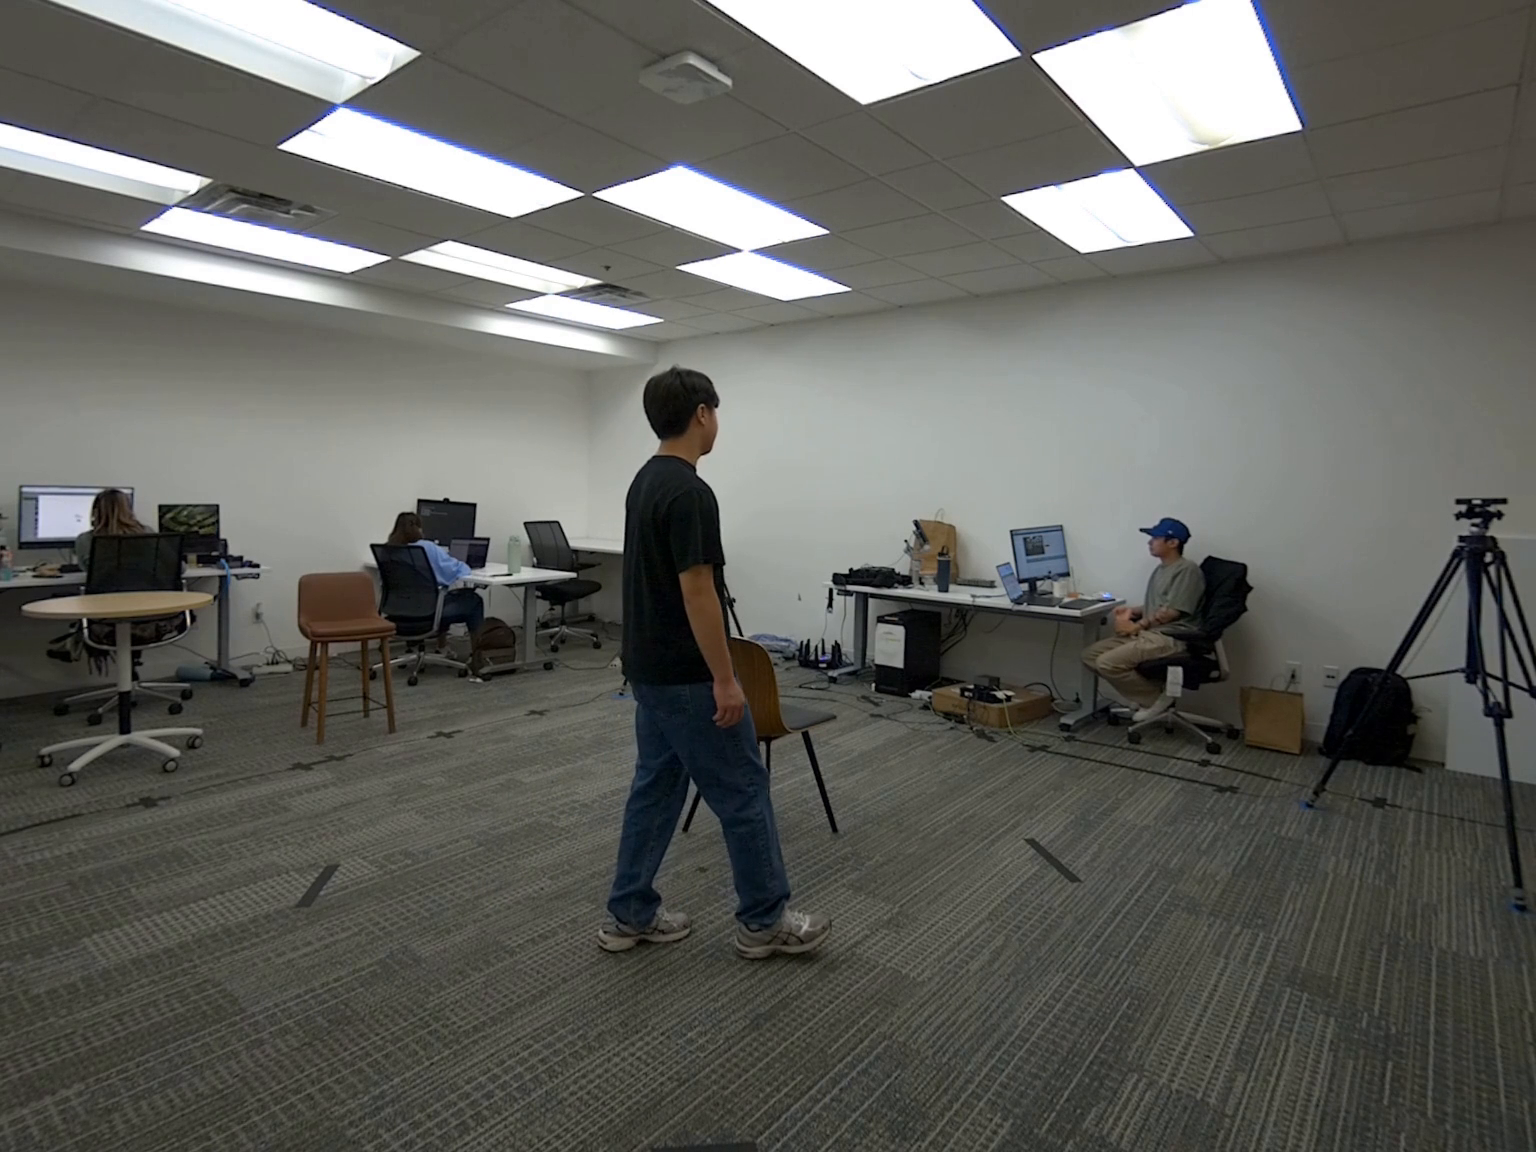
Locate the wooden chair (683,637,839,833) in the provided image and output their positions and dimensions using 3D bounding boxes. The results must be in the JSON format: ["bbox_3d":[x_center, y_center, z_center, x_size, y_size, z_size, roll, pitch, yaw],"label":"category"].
[{"bbox_3d":[-0.027,0.610,3.439,0.494,0.872,0.509,4,8,41],"label":"wooden chair"}]
